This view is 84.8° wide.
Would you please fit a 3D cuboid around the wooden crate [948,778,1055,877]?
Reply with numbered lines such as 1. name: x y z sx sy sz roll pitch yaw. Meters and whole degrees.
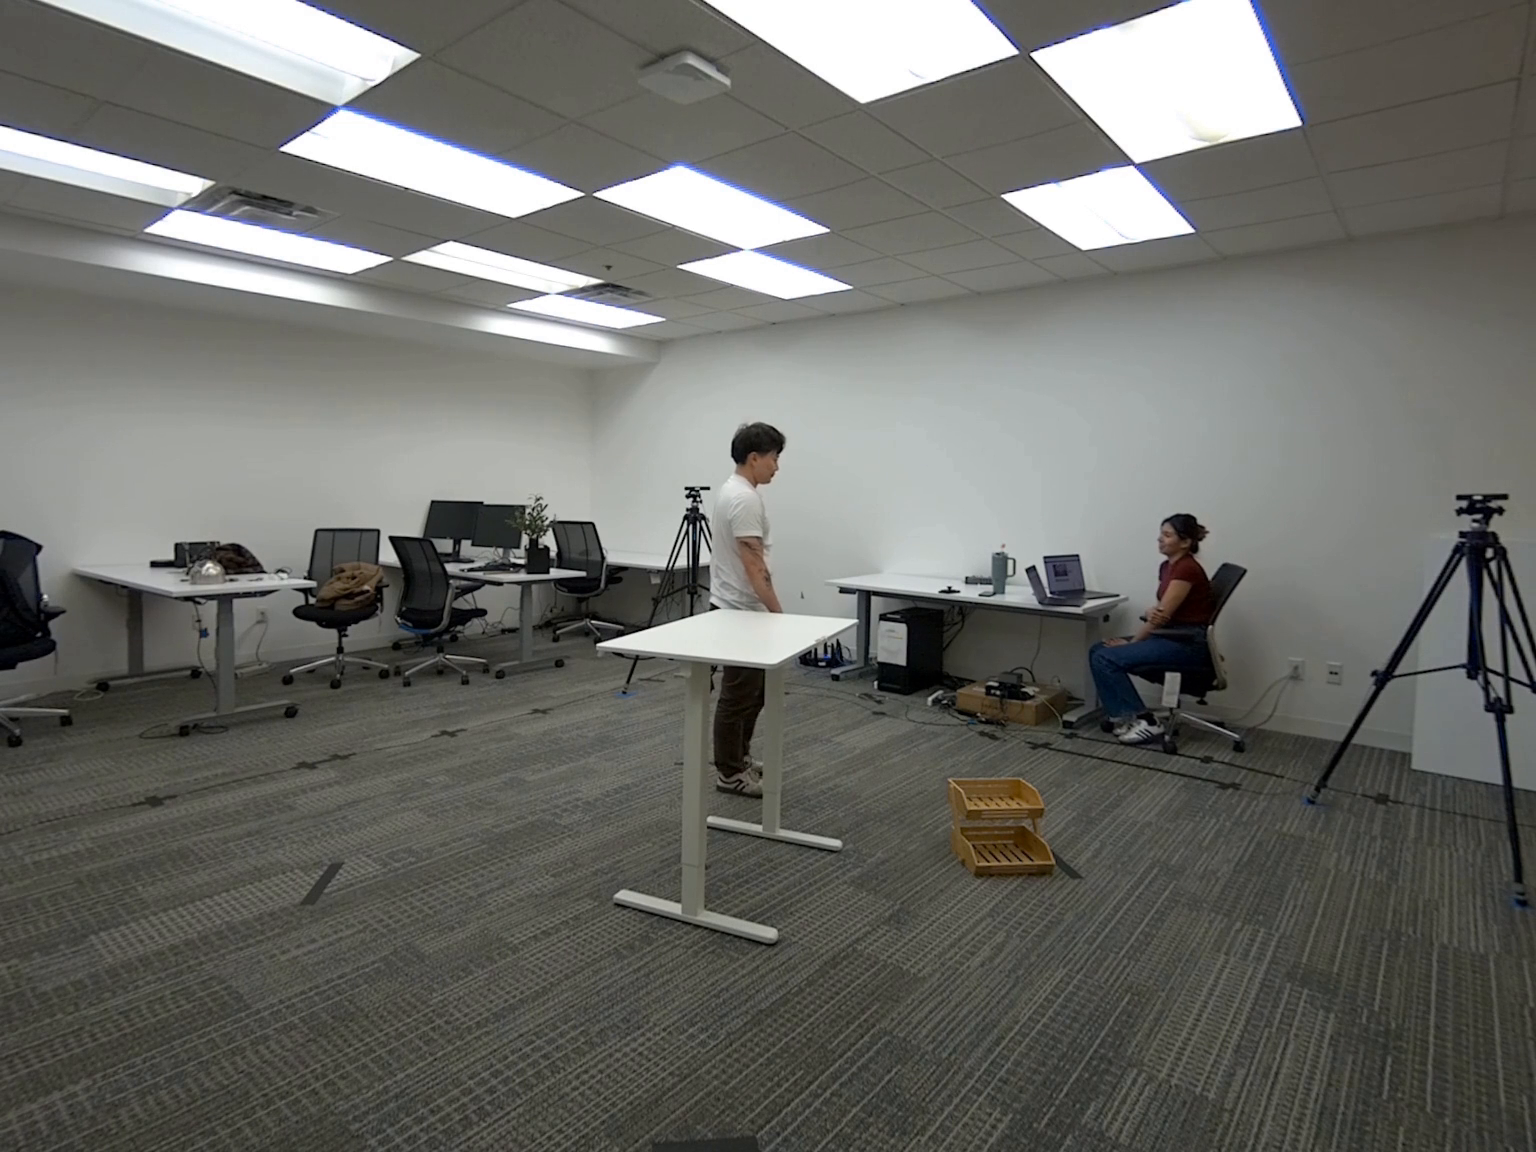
1. wooden crate: 0.882 0.941 3.228 0.322 0.272 0.306 0 4 -9
